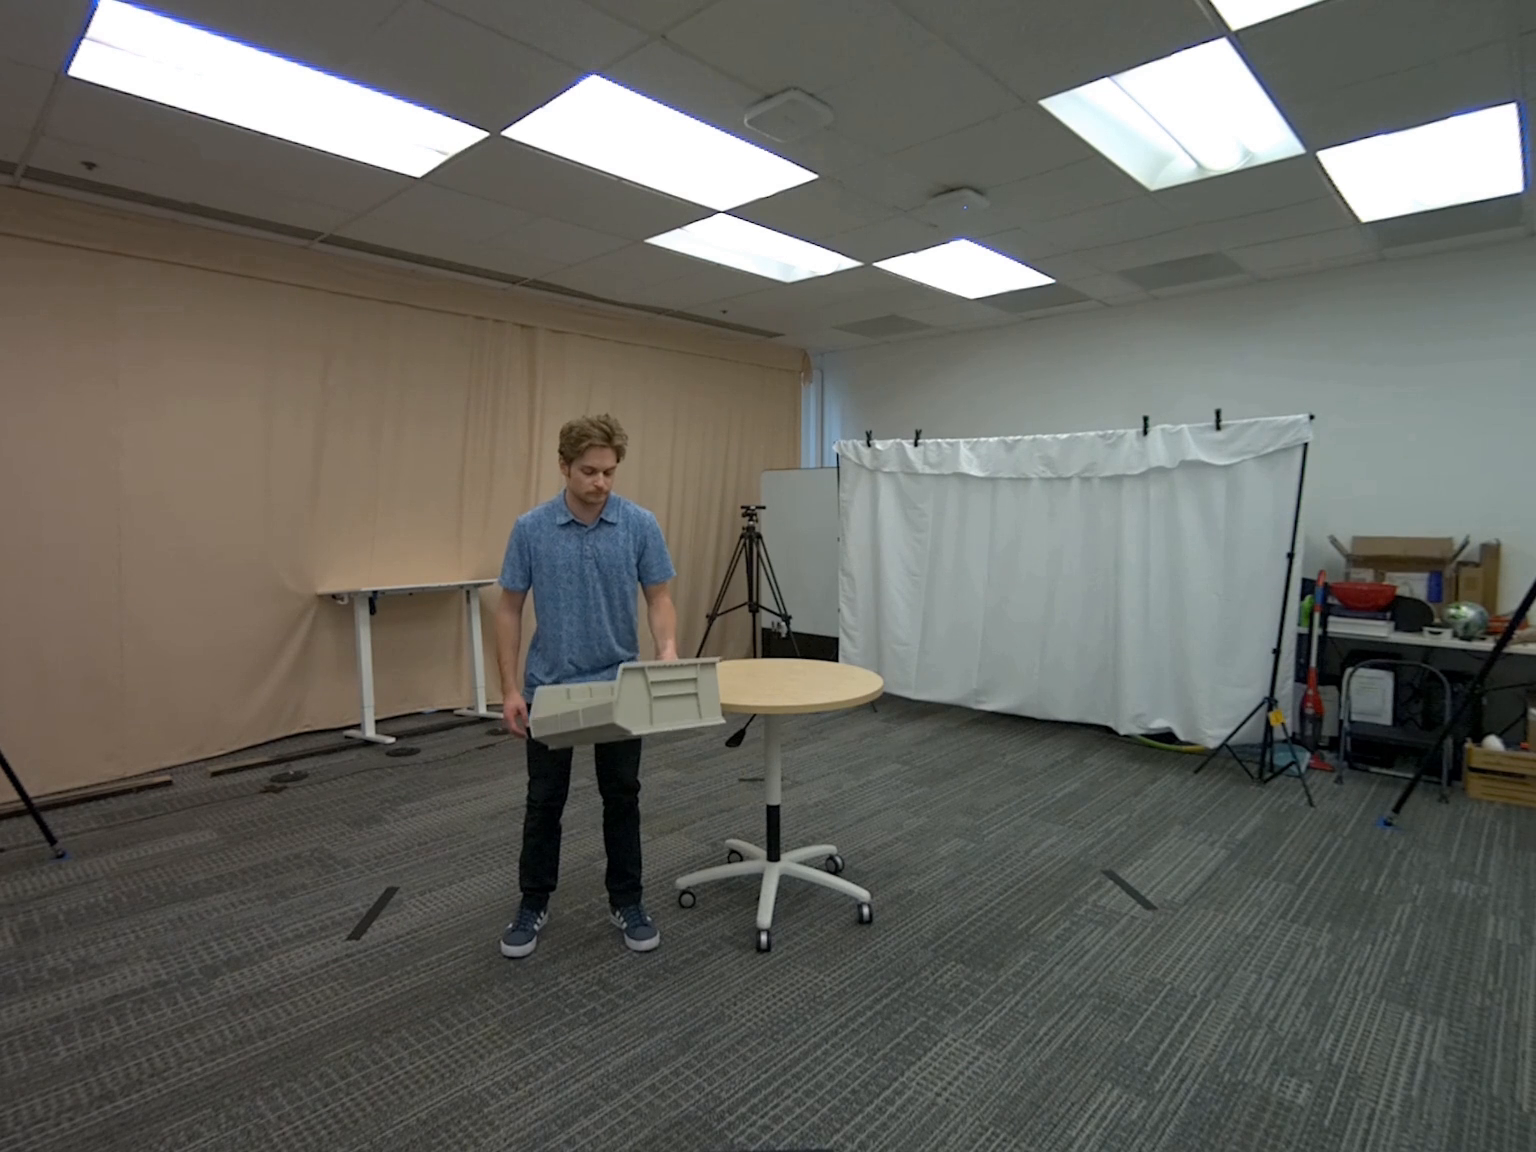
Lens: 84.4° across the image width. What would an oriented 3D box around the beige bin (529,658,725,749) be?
[{"bbox_3d":[-0.387,0.356,2.326,0.365,0.191,0.432,4,-16,-43],"label":"beige bin"}]
